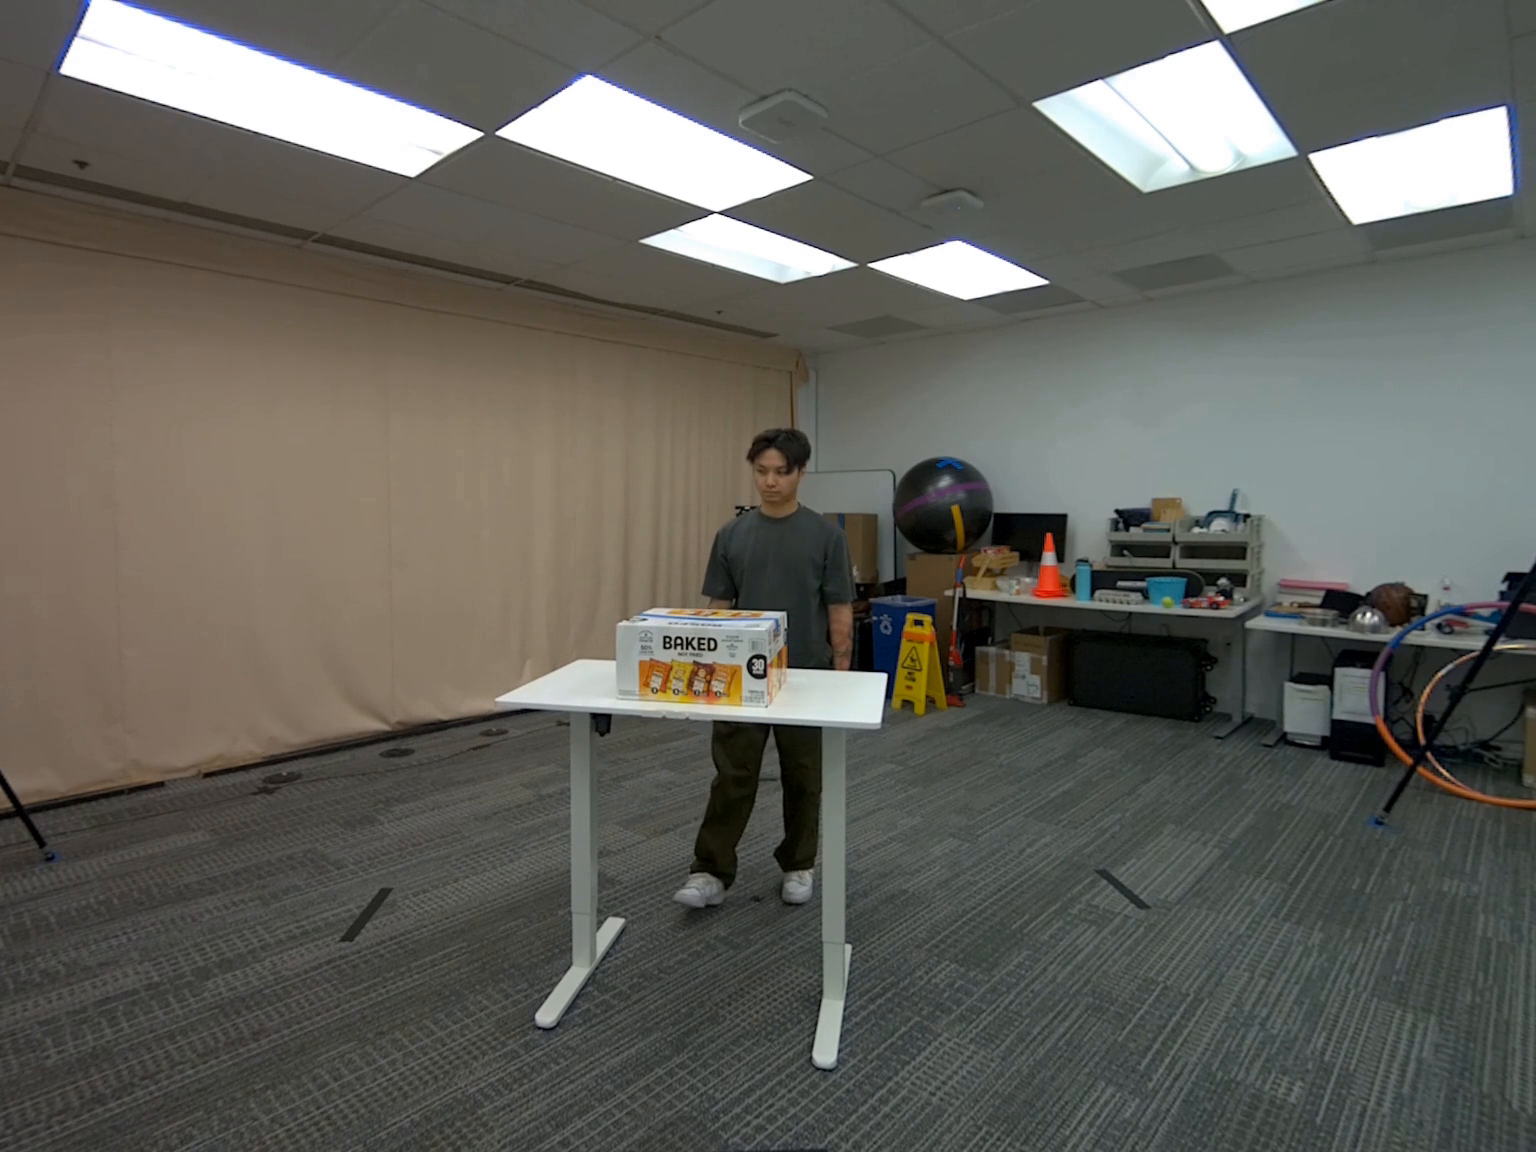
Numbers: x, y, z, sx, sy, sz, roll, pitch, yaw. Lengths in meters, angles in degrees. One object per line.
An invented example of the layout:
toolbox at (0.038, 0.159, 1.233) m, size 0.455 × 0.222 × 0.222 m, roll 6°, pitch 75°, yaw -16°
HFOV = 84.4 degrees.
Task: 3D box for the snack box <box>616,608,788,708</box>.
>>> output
snack box at (-0.172, 0.216, 2.340) m, size 0.410 × 0.205 × 0.337 m, roll 1°, pitch 4°, yaw 11°
